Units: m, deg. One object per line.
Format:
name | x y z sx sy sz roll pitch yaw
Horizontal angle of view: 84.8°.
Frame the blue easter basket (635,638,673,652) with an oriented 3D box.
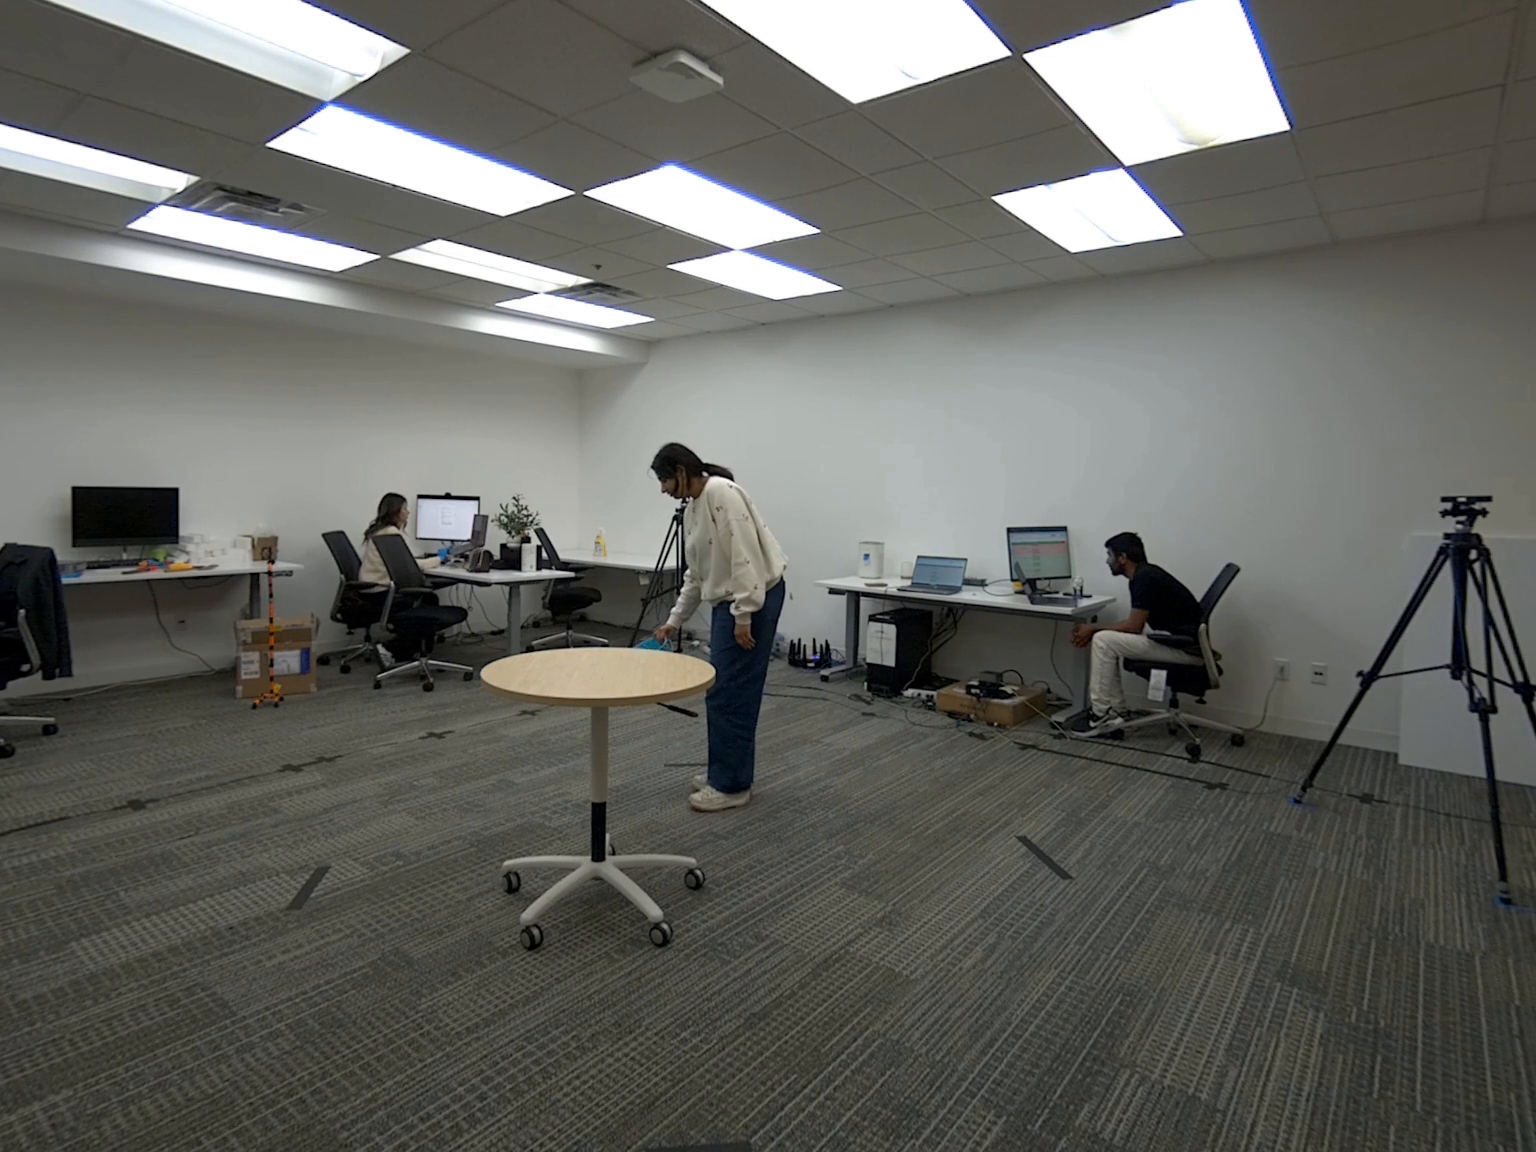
blue easter basket | -0.542 0.404 3.923 0.244 0.153 0.247 -27 16 6
